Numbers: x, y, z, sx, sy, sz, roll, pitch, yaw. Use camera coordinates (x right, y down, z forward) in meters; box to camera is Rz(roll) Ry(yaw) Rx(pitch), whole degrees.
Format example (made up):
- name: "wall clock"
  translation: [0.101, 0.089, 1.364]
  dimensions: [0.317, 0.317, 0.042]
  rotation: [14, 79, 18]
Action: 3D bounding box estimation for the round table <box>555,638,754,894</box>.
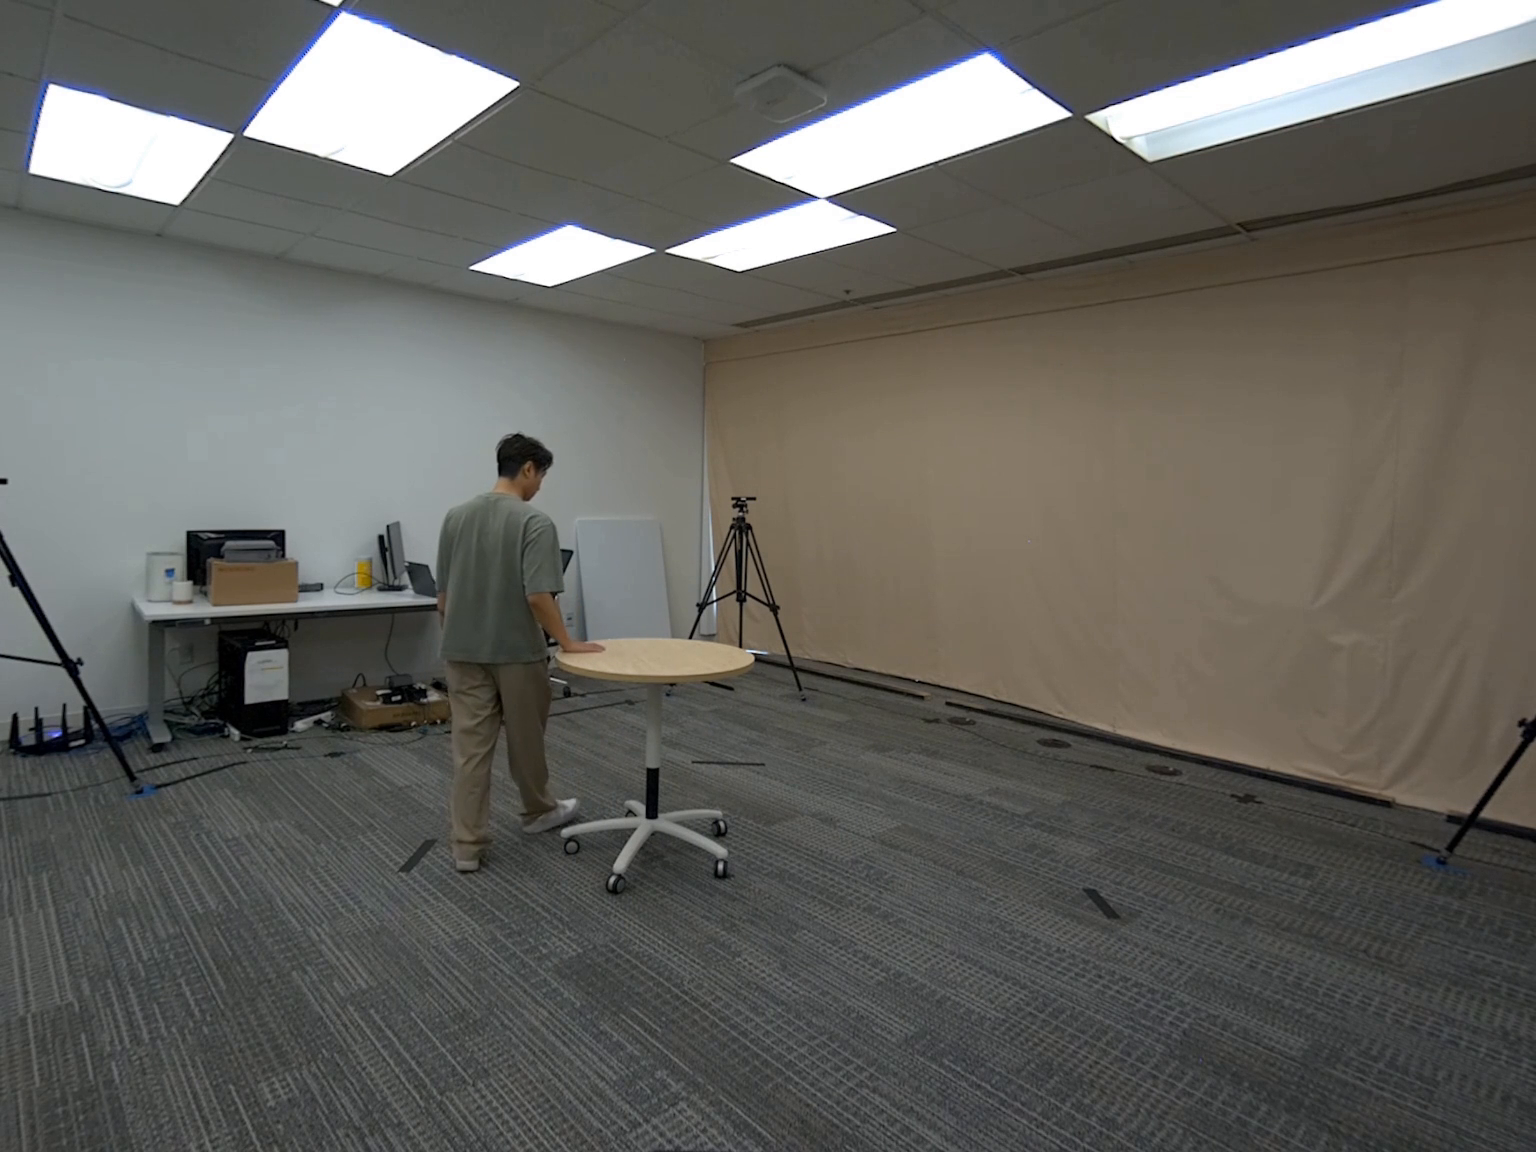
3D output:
- name: "round table"
  translation: [-0.458, 0.697, 3.272]
  dimensions: [0.763, 0.792, 0.766]
  rotation: [2, 4, -1]
